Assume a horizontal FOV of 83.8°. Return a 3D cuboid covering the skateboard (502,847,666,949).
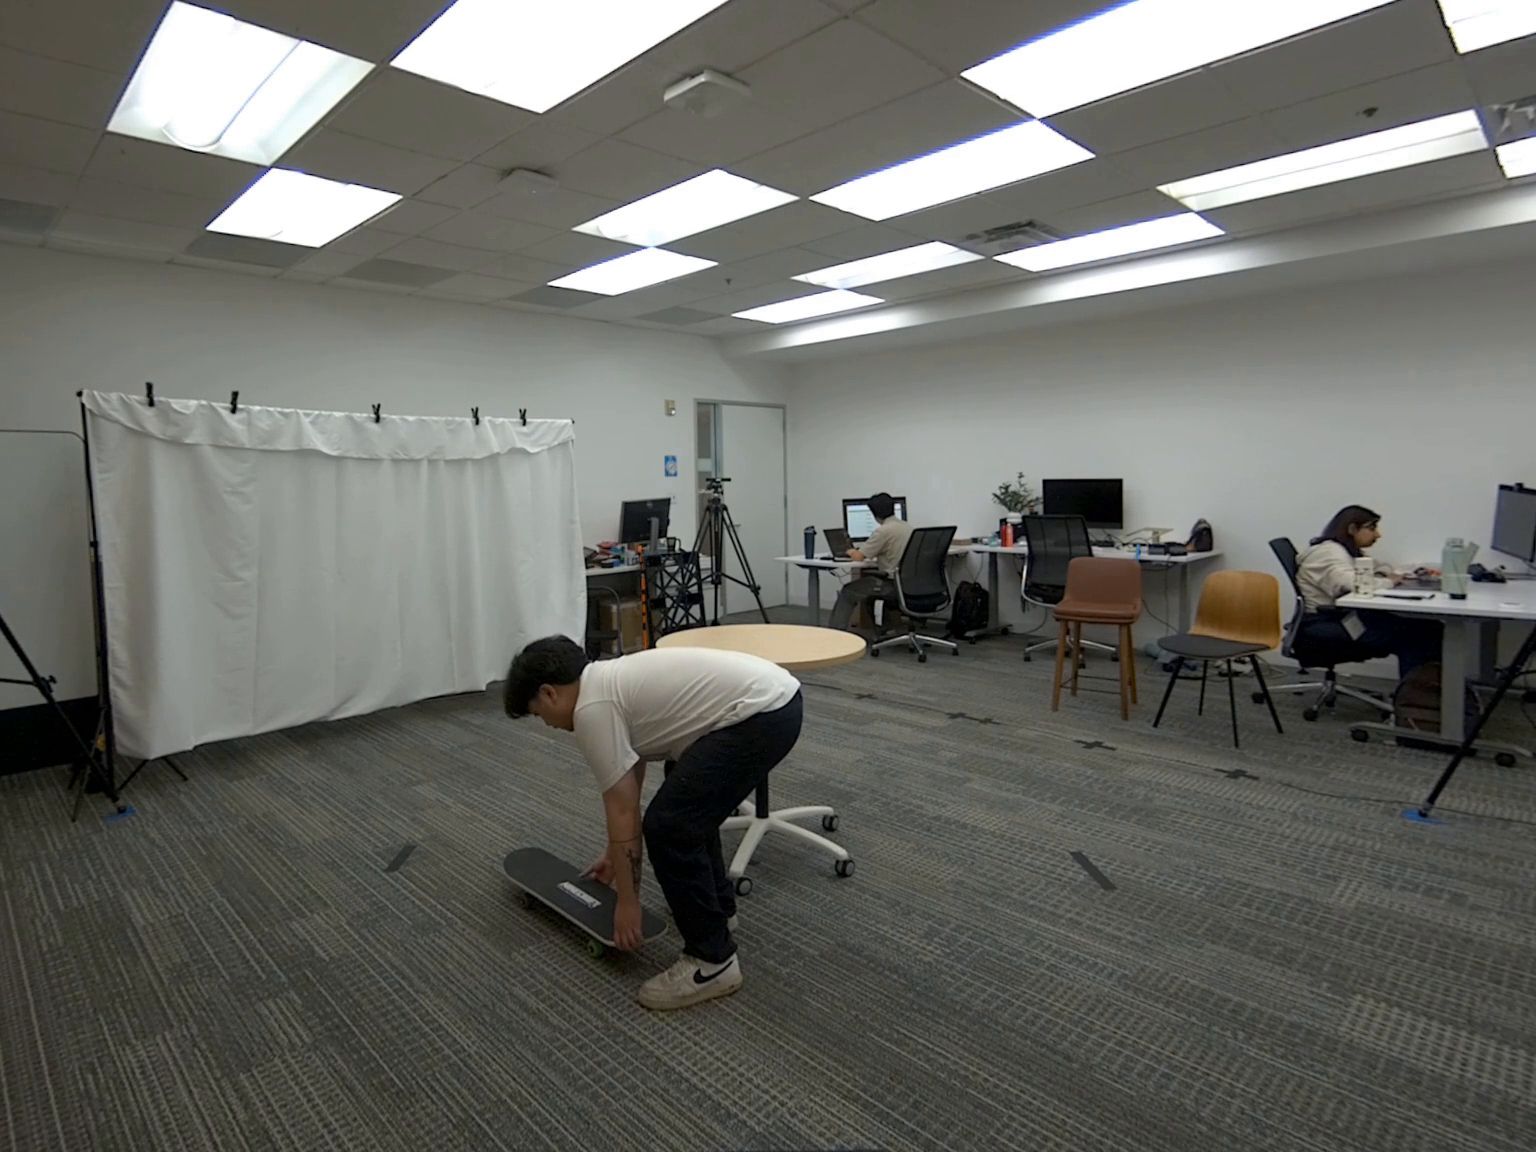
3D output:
[{"bbox_3d":[-0.596,1.048,2.705,0.188,0.110,0.810,-8,9,-43],"label":"skateboard"}]
